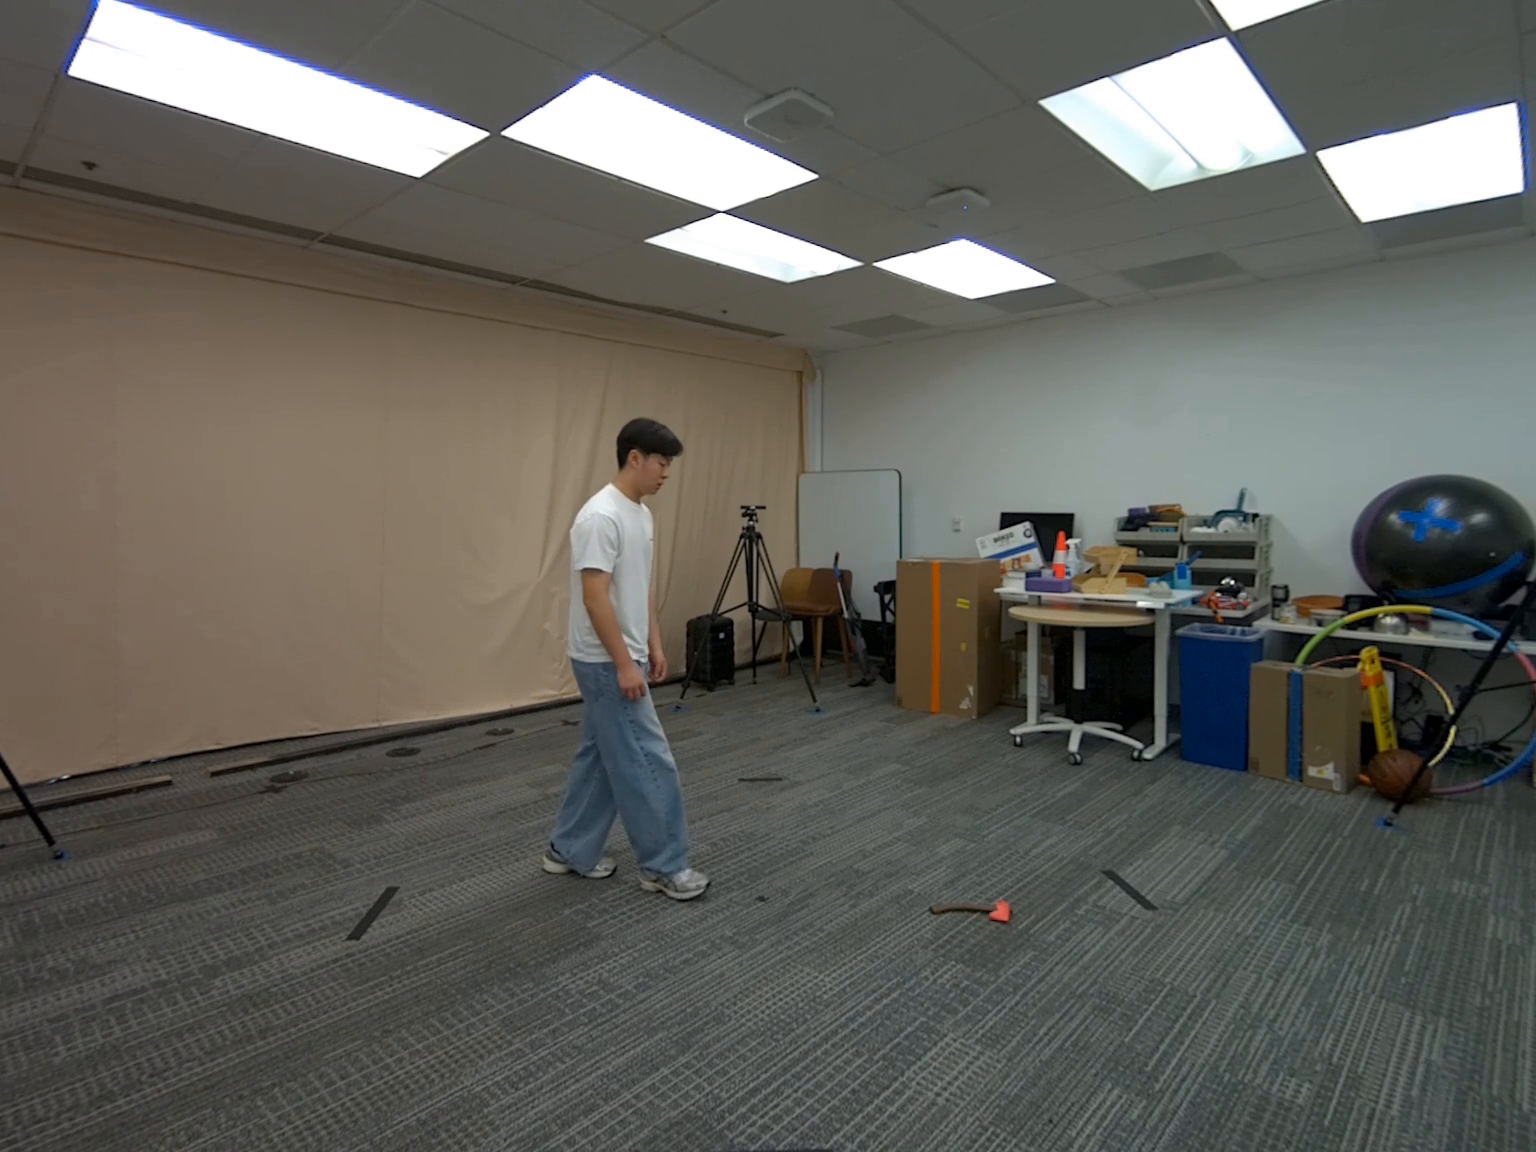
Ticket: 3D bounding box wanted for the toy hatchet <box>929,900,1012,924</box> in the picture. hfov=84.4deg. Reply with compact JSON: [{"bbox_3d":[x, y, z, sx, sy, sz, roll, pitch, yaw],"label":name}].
[{"bbox_3d":[0.698,1.140,2.843,0.268,0.029,0.133,-4,9,-8],"label":"toy hatchet"}]
